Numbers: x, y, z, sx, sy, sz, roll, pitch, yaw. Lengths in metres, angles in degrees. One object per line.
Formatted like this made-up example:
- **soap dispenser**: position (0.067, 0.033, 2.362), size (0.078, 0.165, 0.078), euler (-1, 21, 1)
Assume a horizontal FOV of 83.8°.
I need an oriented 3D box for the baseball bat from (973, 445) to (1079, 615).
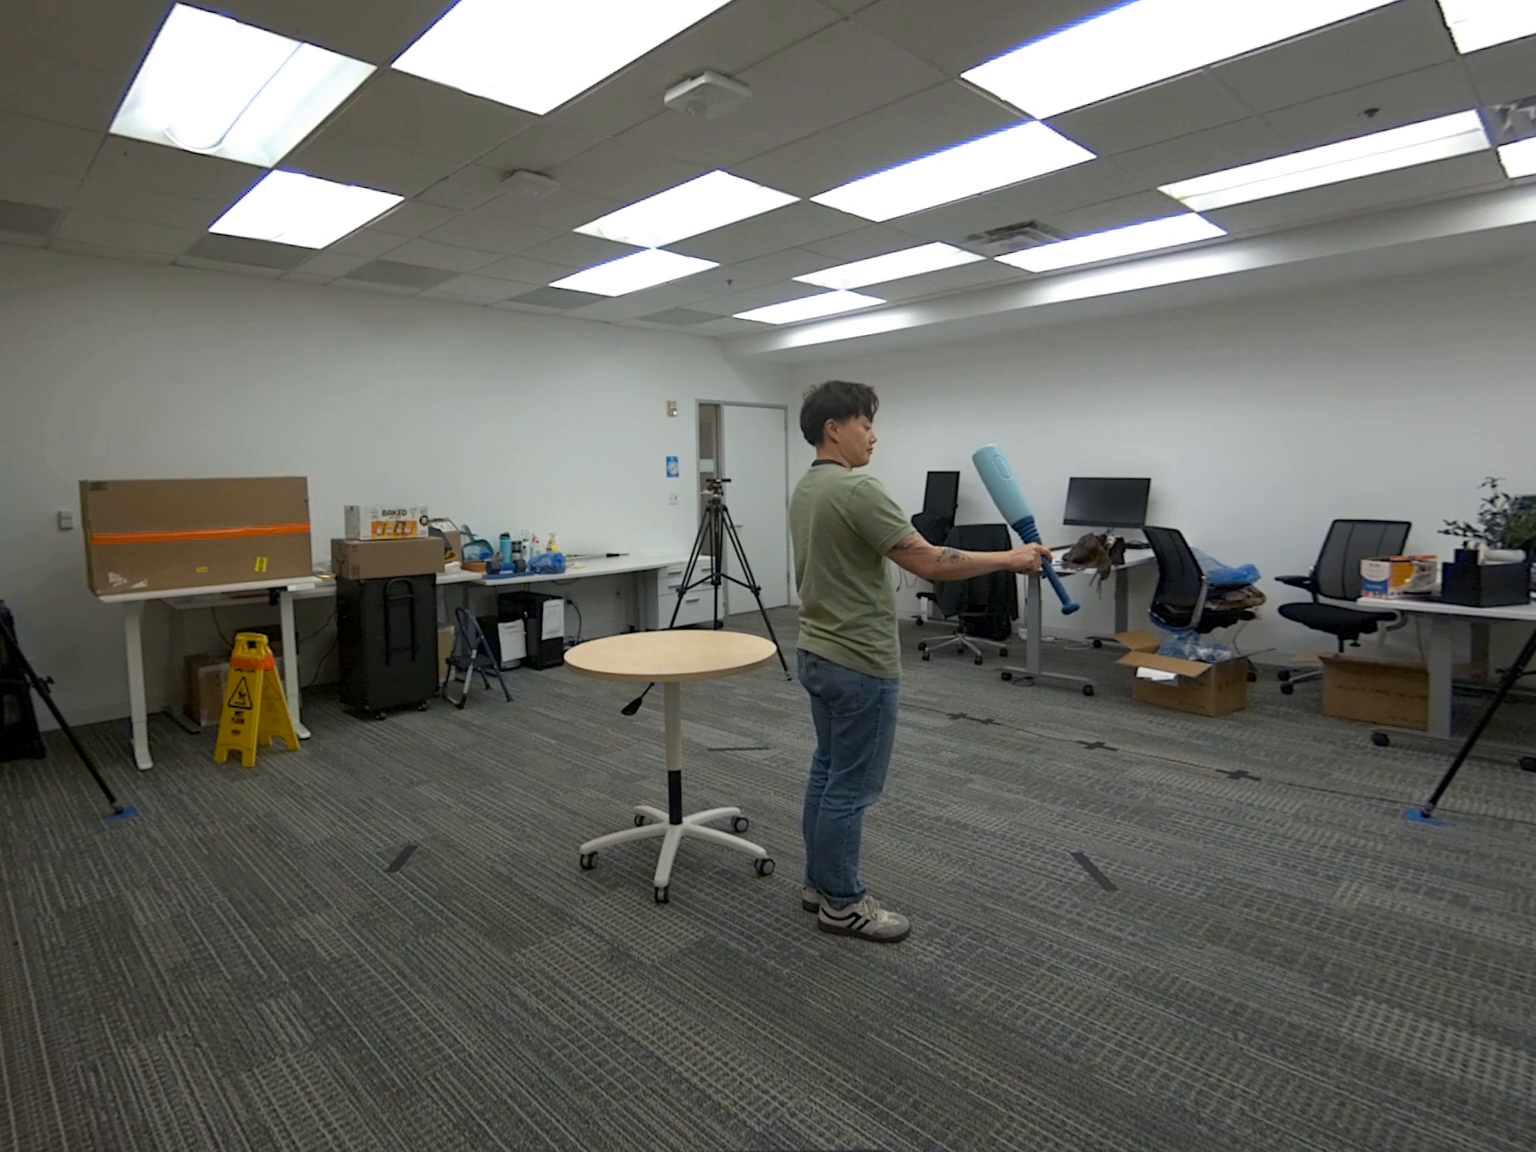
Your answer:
- **baseball bat**: position (0.743, -0.138, 2.455), size (0.088, 0.556, 0.087), euler (-19, -21, -9)
